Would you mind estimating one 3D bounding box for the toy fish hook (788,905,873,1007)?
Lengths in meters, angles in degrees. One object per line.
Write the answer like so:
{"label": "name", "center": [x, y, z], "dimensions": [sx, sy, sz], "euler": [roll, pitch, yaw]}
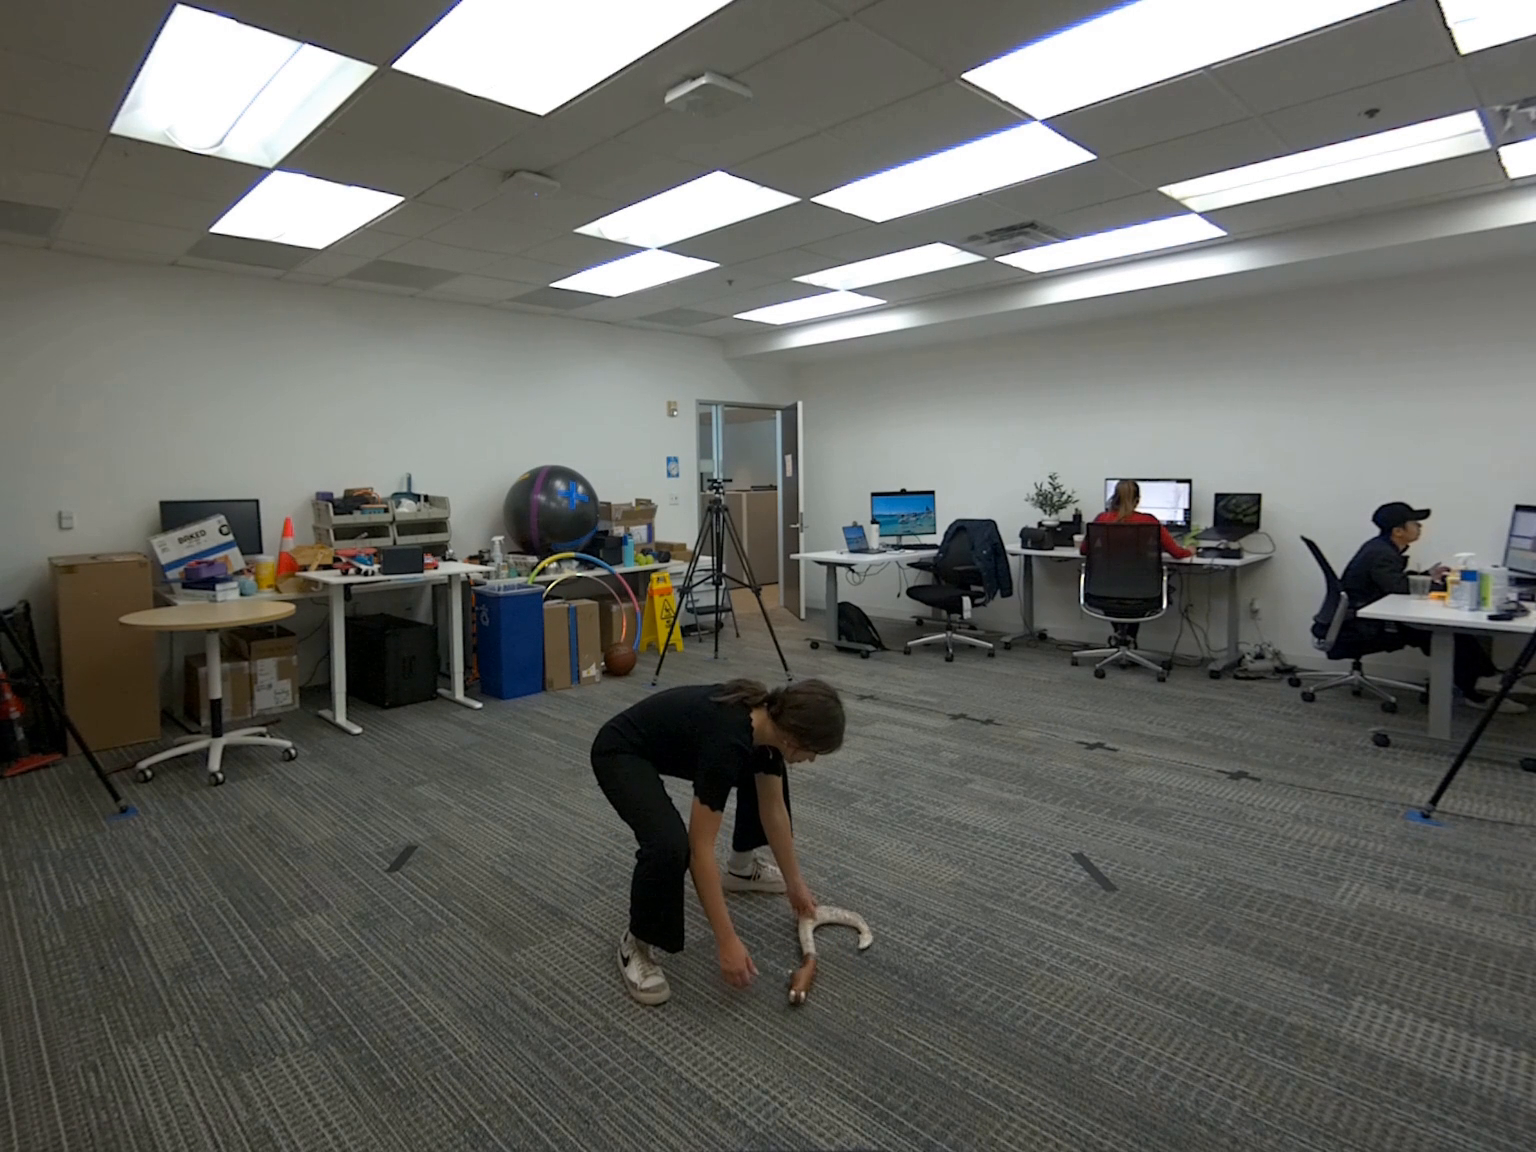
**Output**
{"label": "toy fish hook", "center": [0.177, 1.093, 2.470], "dimensions": [0.228, 0.048, 0.502], "euler": [-1, 7, 13]}
